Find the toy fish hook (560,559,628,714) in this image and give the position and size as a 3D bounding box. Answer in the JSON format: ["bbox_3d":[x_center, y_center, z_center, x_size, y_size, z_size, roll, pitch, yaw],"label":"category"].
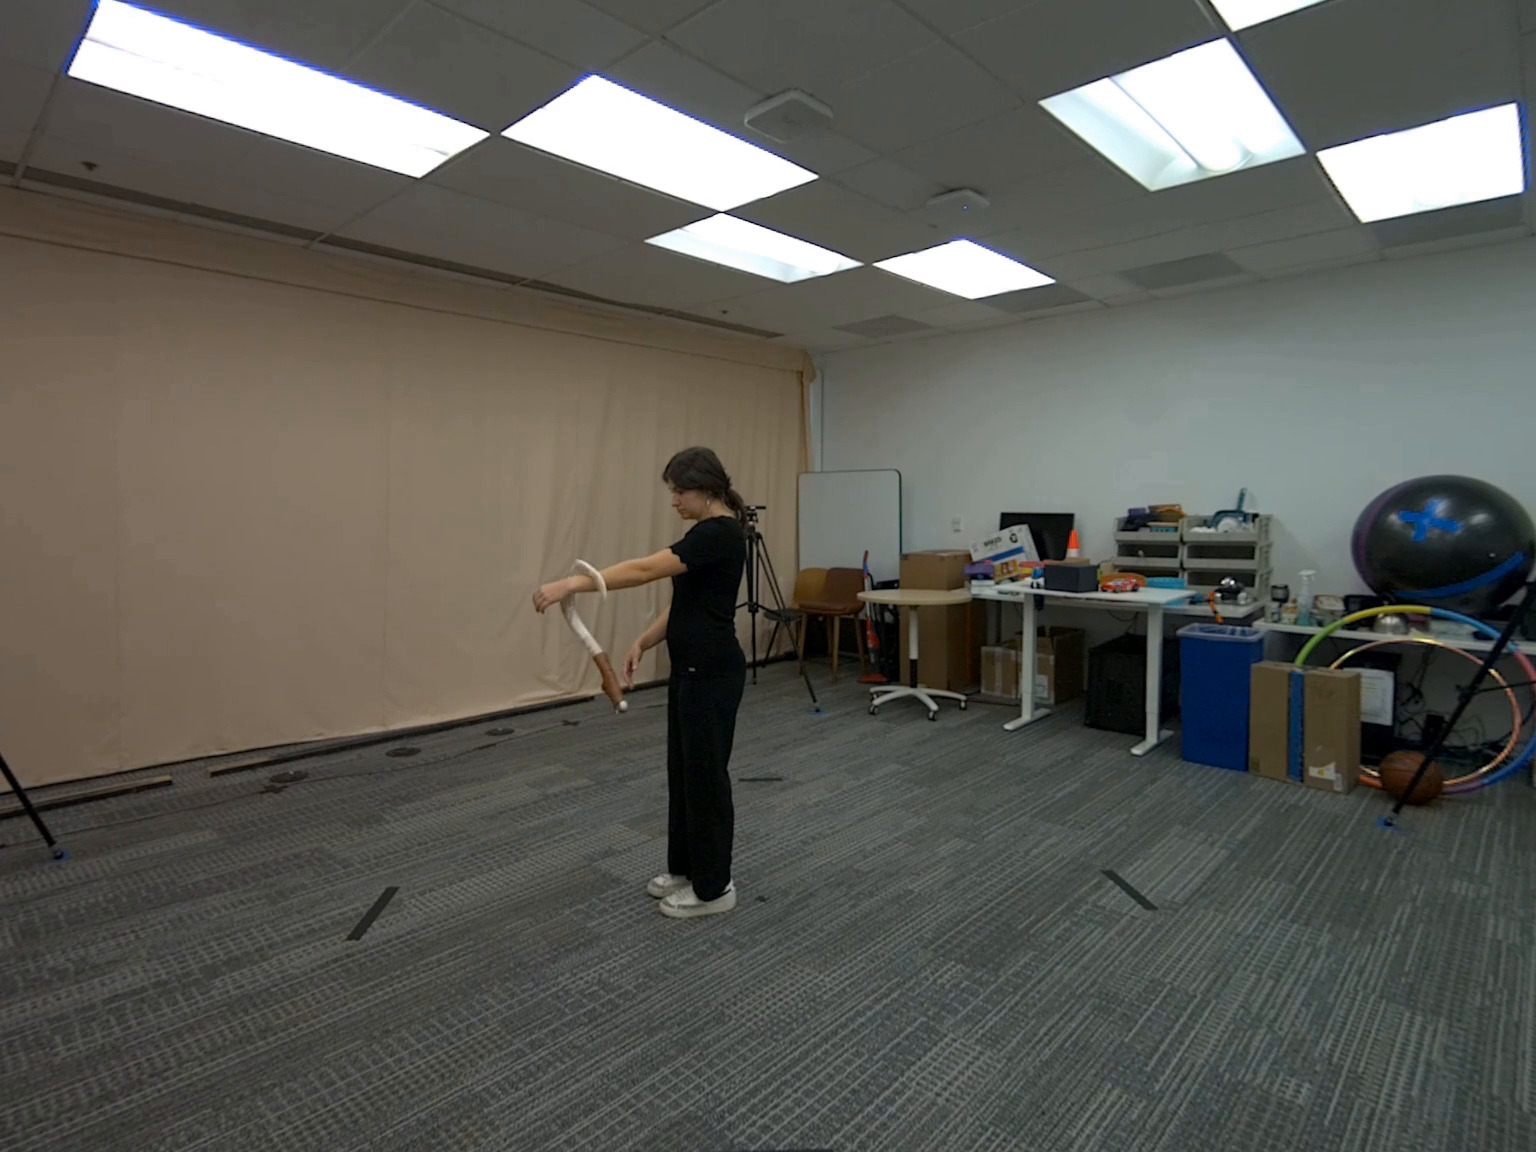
[{"bbox_3d":[-0.514,0.162,2.570,0.047,0.520,0.225,-2,-39,-41],"label":"toy fish hook"}]
